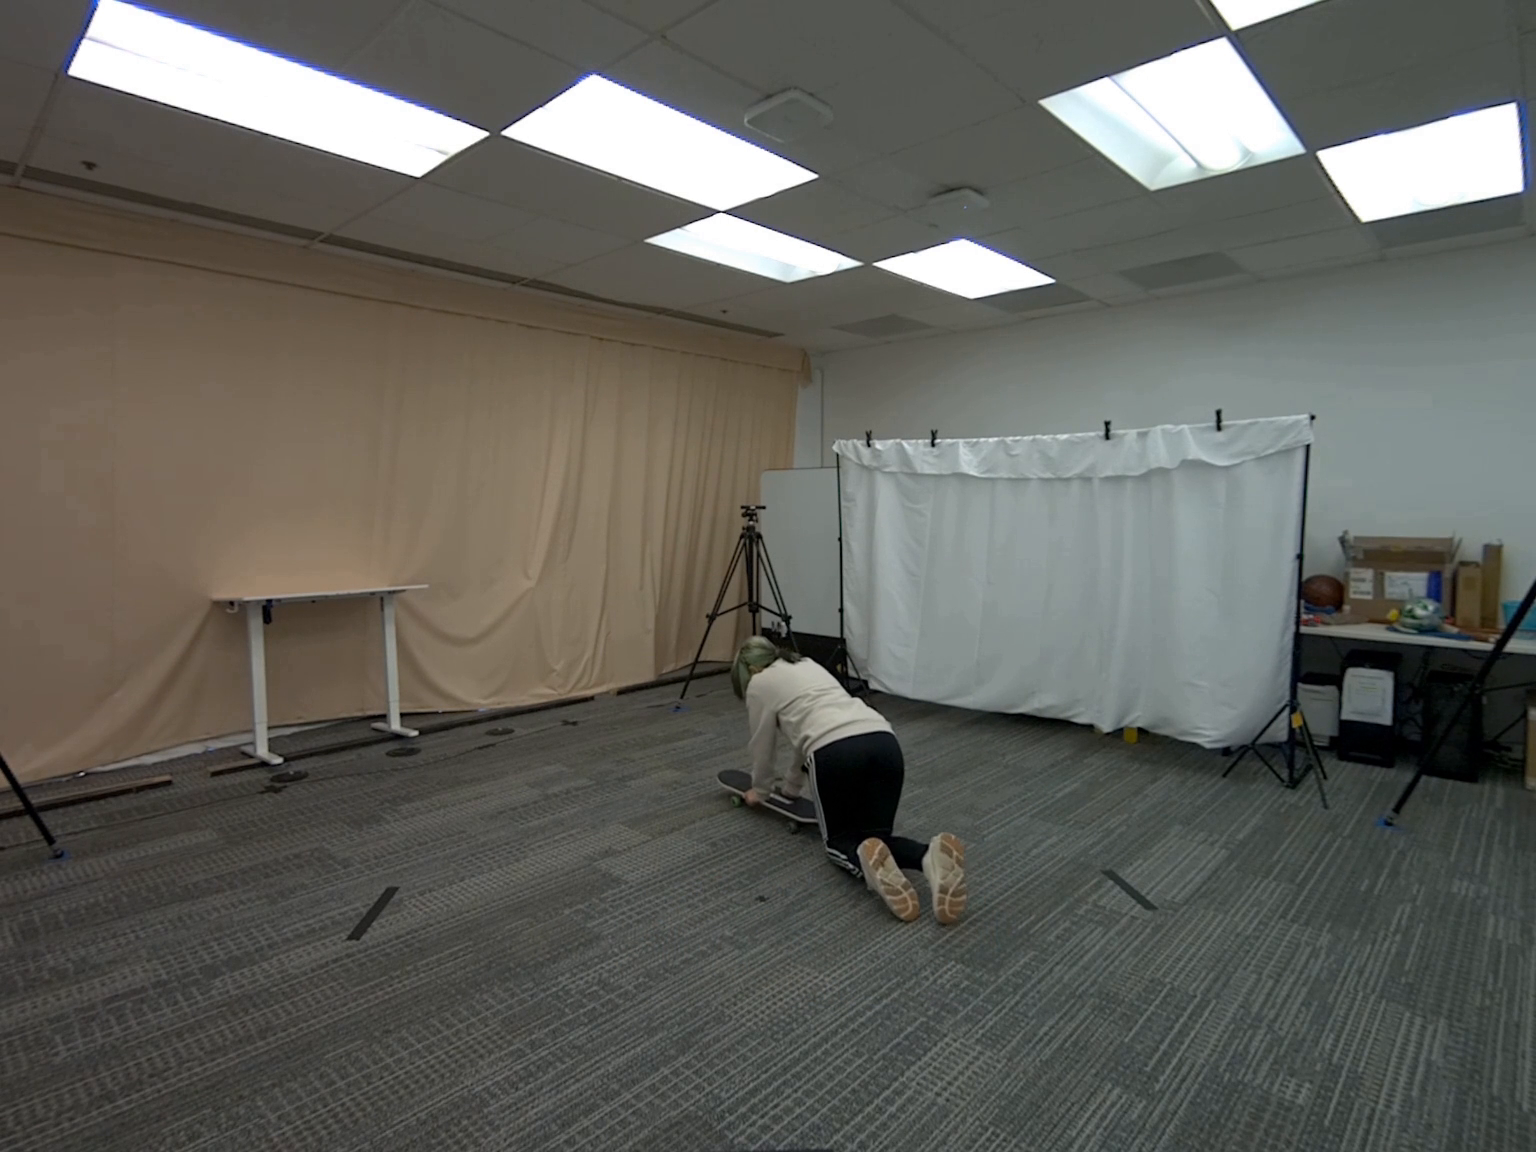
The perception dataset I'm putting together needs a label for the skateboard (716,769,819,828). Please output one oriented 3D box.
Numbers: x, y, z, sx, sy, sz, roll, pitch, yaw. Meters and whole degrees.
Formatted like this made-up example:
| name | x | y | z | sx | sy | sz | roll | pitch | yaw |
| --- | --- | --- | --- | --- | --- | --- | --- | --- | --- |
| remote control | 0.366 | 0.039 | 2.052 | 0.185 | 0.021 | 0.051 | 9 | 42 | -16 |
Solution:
| name | x | y | z | sx | sy | sz | roll | pitch | yaw |
| --- | --- | --- | --- | --- | --- | --- | --- | --- | --- |
| skateboard | 0.040 | 1.021 | 3.782 | 0.188 | 0.110 | 0.811 | -2 | 5 | -37 |
